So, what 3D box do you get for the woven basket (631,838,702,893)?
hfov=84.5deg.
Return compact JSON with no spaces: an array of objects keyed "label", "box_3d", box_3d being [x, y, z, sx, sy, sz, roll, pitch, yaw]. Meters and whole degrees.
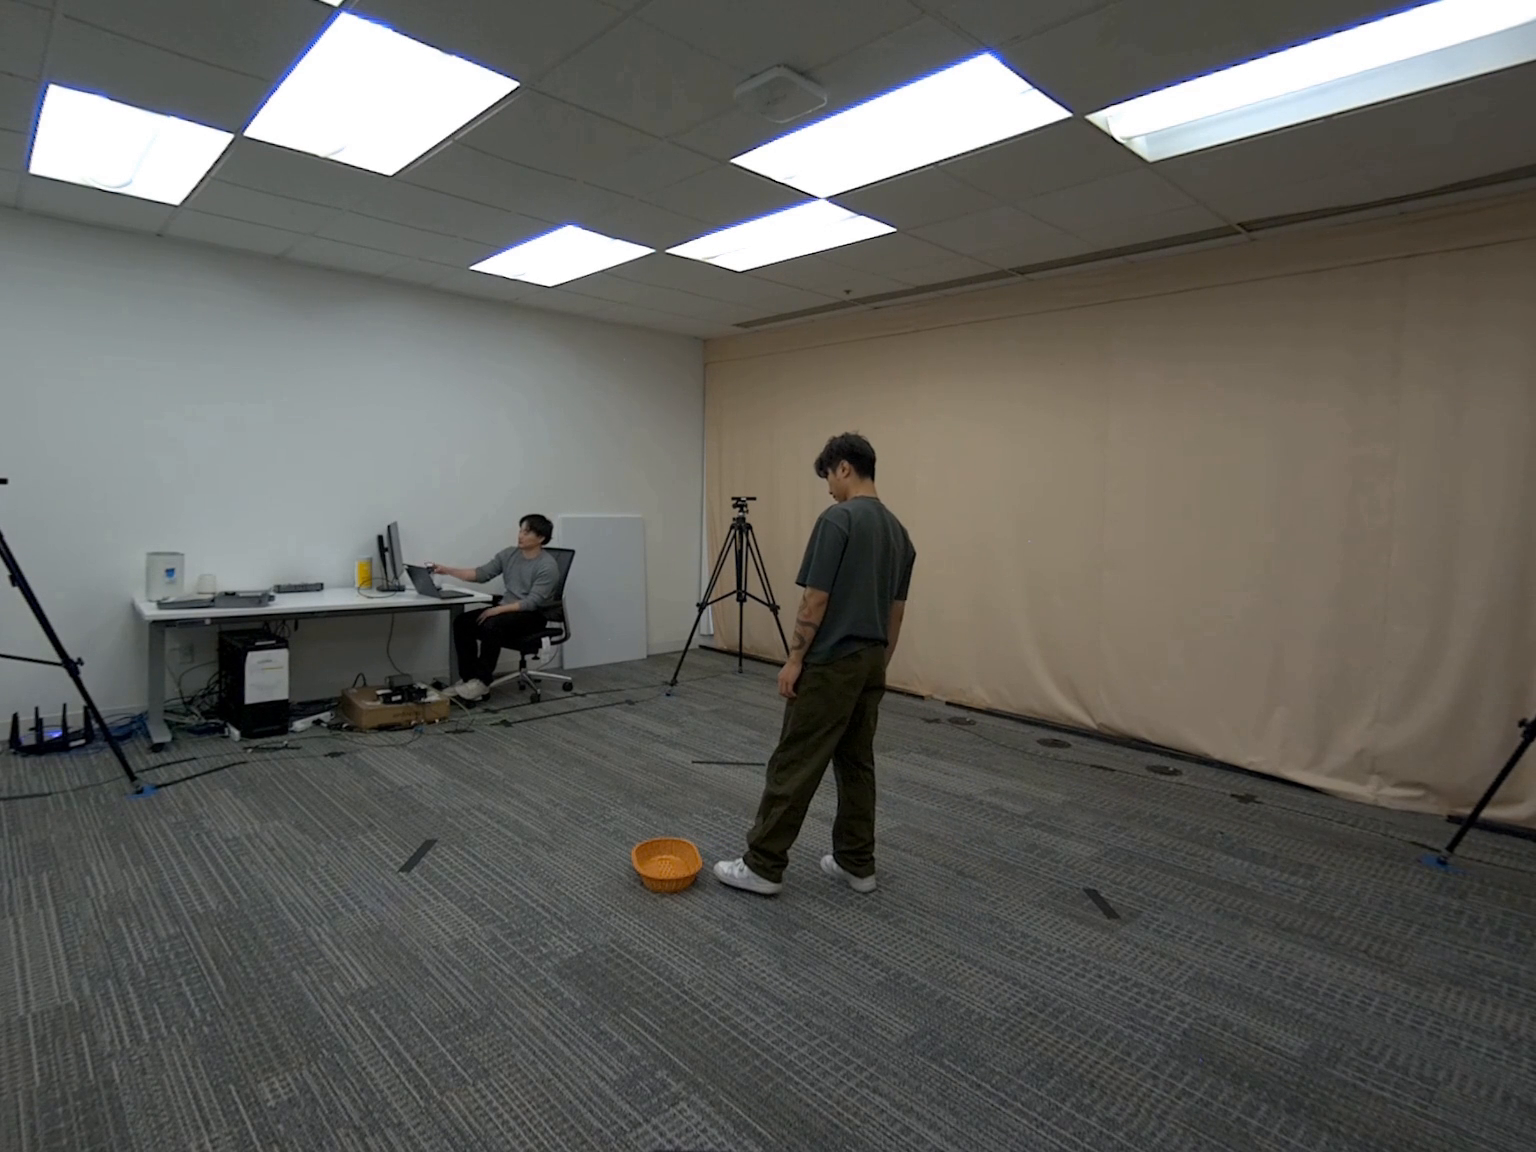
[{"label":"woven basket","box_3d":[-0.378,1.058,3.098,0.250,0.073,0.355,-1,5,-13]}]
